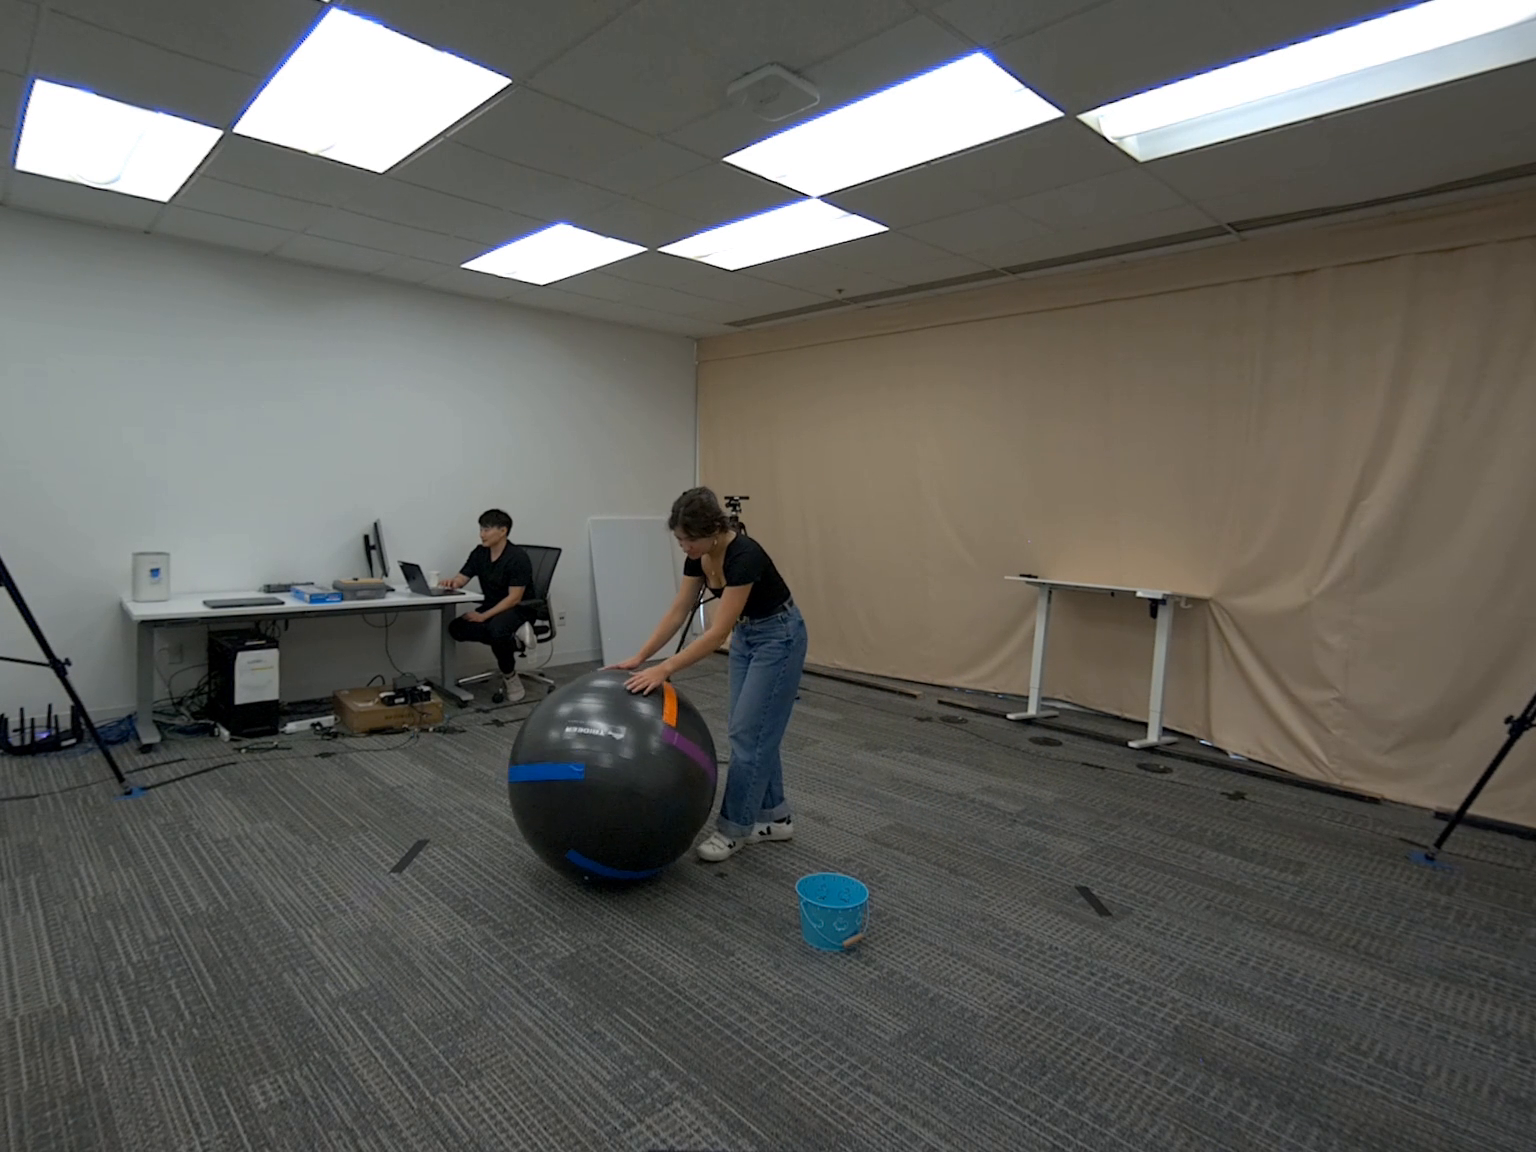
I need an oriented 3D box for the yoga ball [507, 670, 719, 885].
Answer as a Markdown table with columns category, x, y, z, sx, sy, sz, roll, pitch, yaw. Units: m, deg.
| category | x | y | z | sx | sy | sz | roll | pitch | yaw |
| --- | --- | --- | --- | --- | --- | --- | --- | --- | --- |
| yoga ball | -0.568 | 0.726 | 3.067 | 0.757 | 0.756 | 0.761 | 1 | 4 | -1 |
